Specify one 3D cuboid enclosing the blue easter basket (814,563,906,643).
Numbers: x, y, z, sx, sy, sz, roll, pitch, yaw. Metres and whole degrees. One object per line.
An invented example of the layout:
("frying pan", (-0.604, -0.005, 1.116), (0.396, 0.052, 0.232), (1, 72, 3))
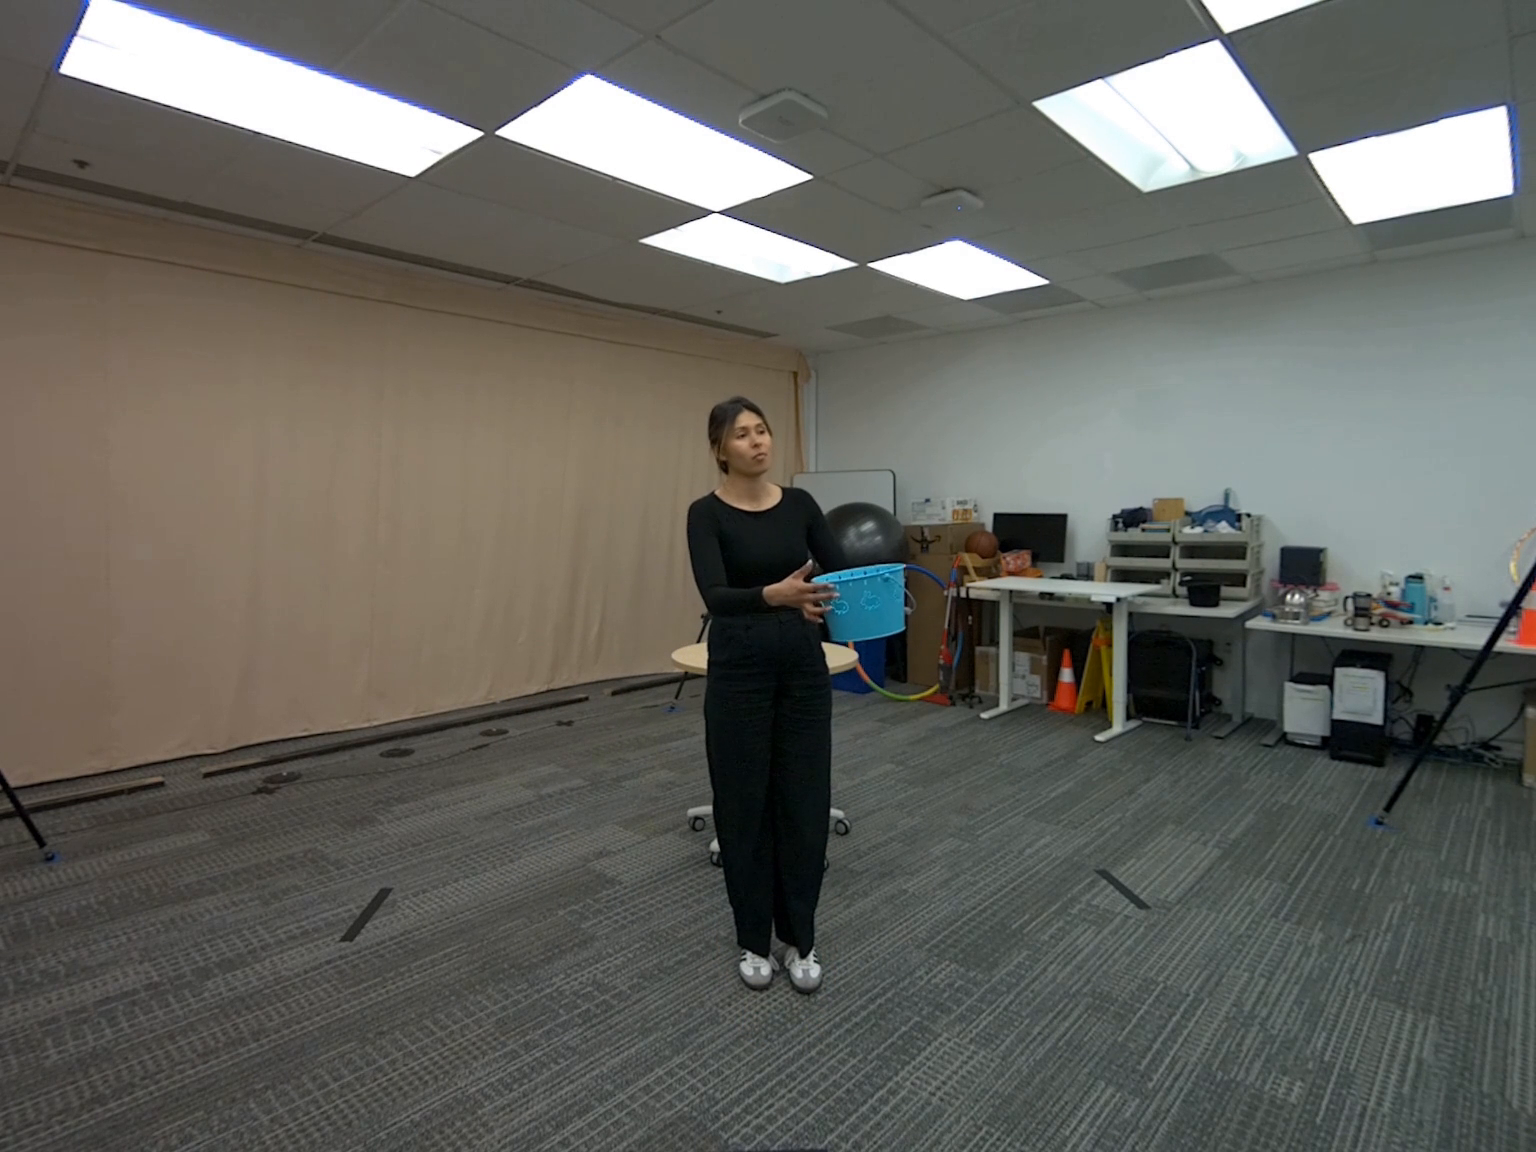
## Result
("blue easter basket", (0.235, 0.068, 2.060), (0.243, 0.155, 0.244), (-8, 4, -1))
